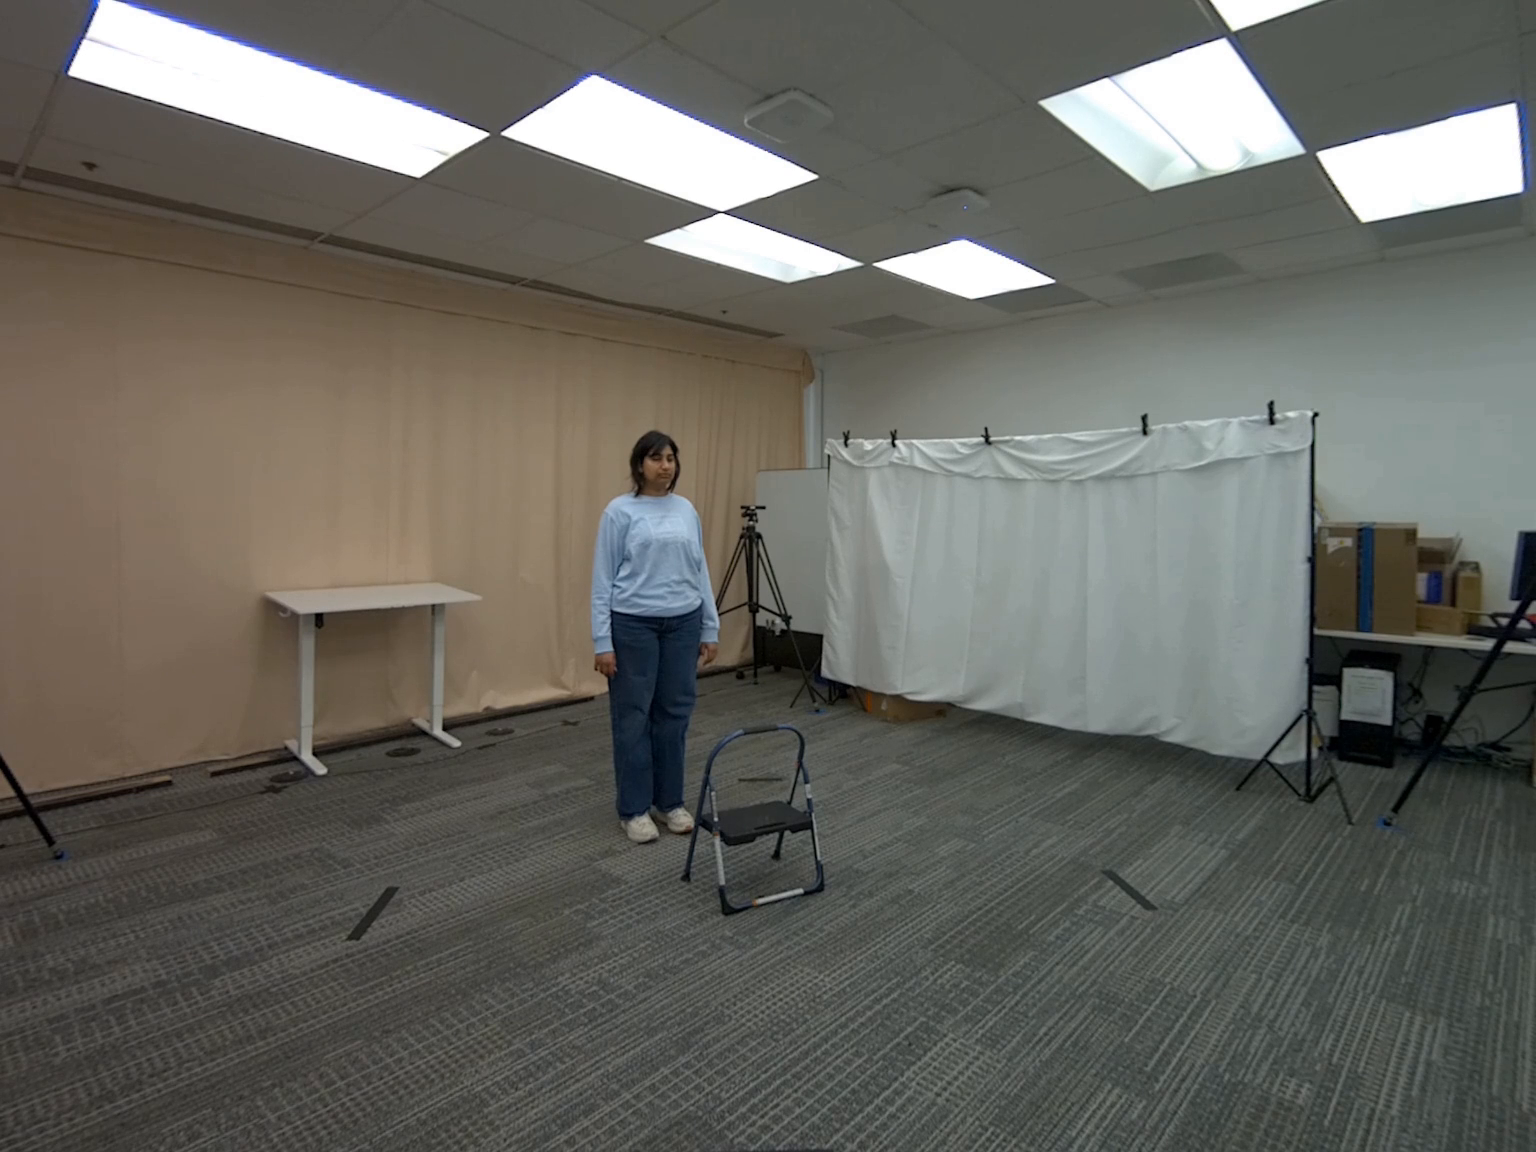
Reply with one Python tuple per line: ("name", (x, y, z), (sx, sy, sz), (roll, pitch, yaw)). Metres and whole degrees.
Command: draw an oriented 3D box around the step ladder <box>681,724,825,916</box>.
("step ladder", (-0.059, 0.829, 3.082), (0.419, 0.605, 0.359), (-3, 4, -30))
